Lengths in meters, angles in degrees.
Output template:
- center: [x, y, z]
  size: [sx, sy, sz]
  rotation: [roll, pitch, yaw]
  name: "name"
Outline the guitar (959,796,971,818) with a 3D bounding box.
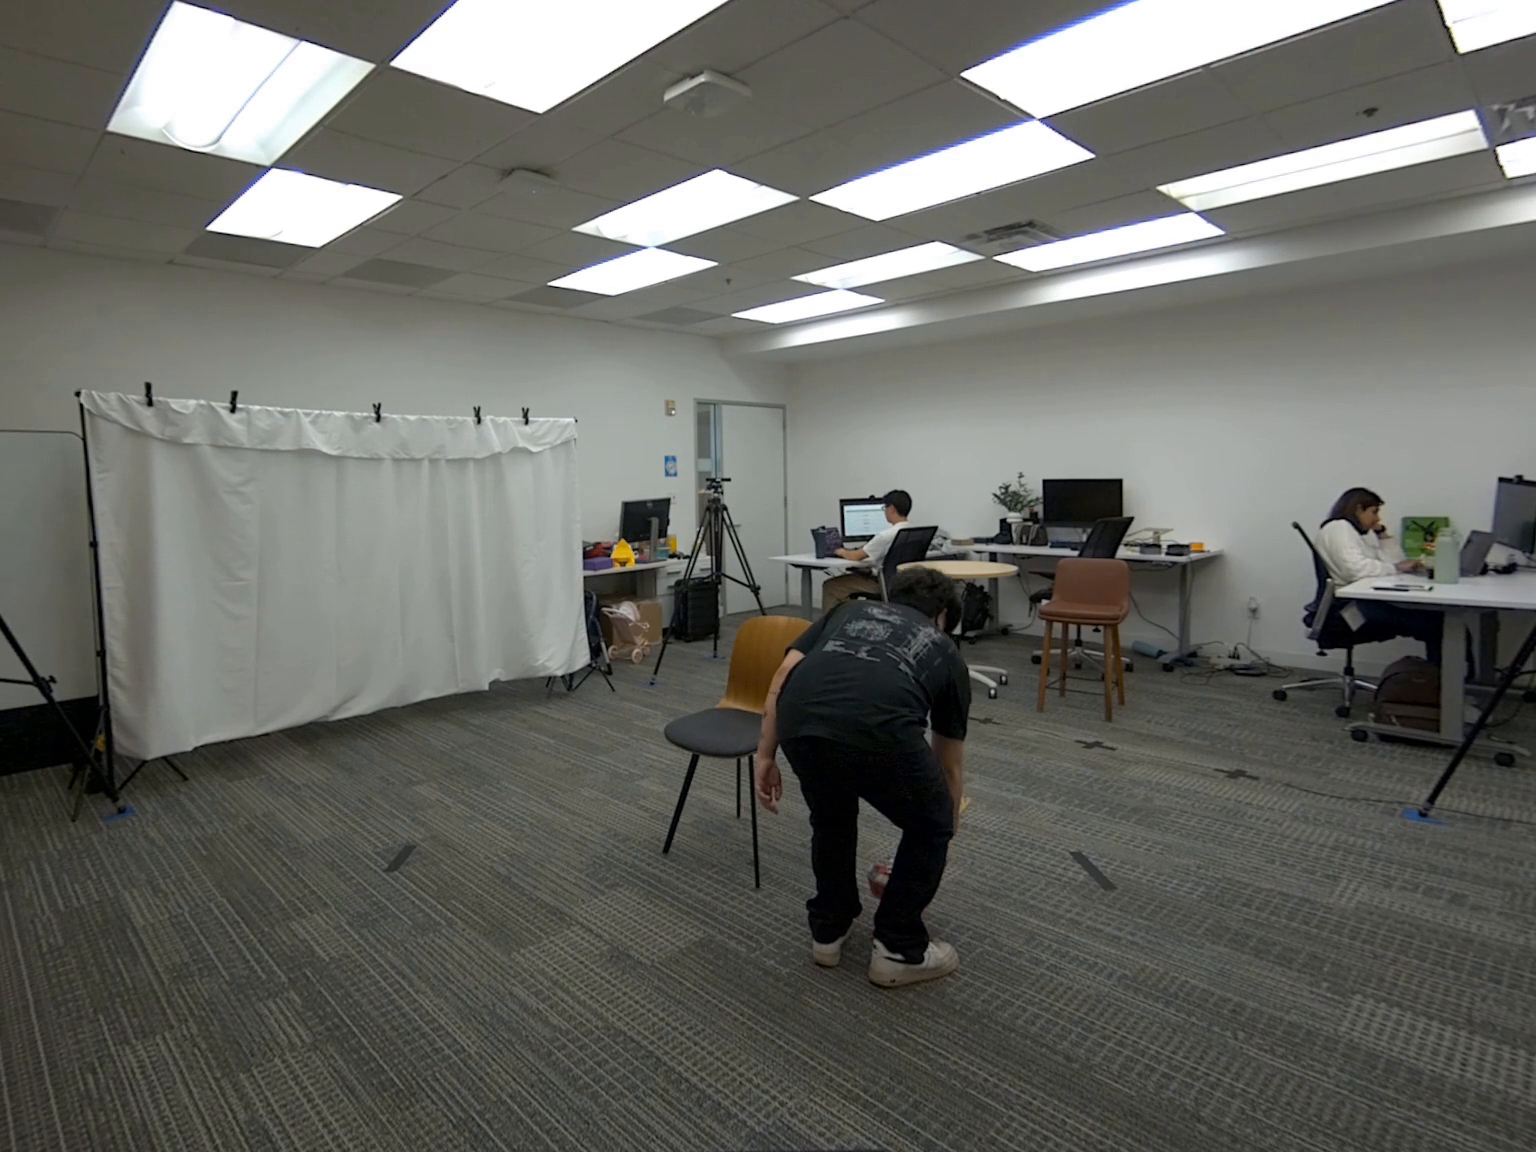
- center: [0.538, 0.866, 2.694]
  size: [0.491, 0.069, 0.199]
  rotation: [-24, 17, -30]
  name: "guitar"
